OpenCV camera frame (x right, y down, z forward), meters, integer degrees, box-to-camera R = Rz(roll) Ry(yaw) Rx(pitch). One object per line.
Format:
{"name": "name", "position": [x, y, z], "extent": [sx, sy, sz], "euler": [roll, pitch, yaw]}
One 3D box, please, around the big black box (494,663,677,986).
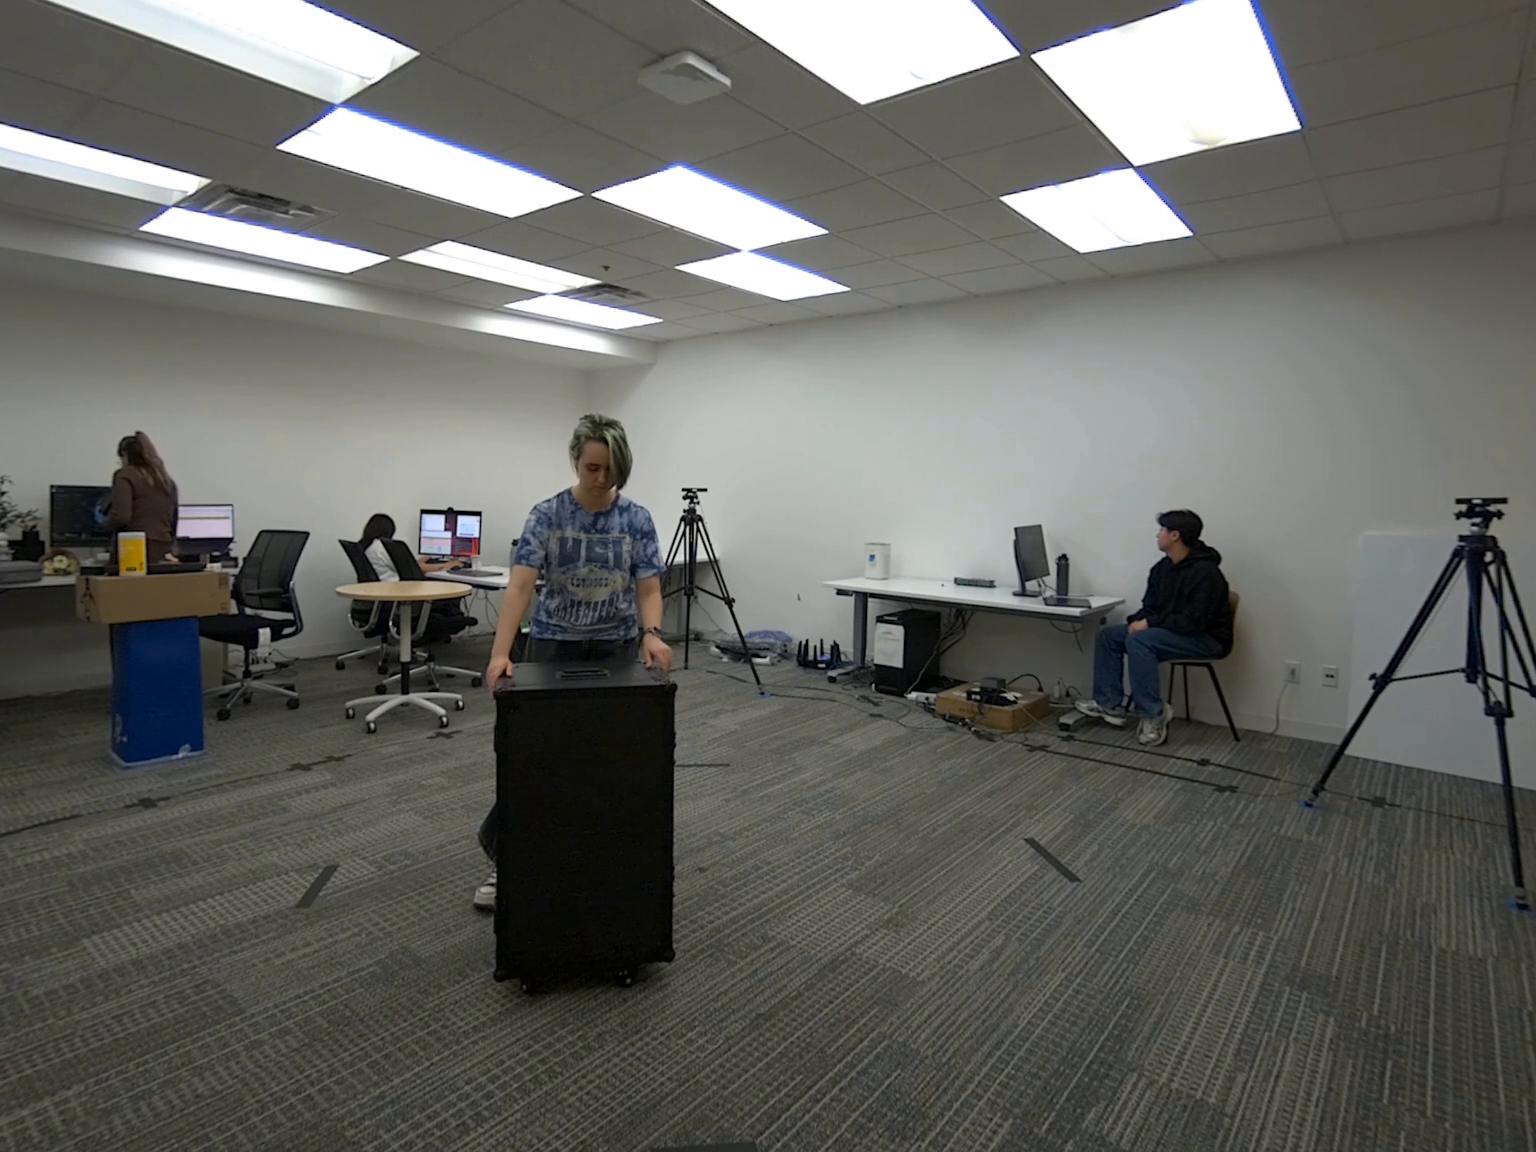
{"name": "big black box", "position": [-0.556, 0.709, 2.473], "extent": [0.514, 0.859, 0.403], "euler": [-1, 3, -13]}
